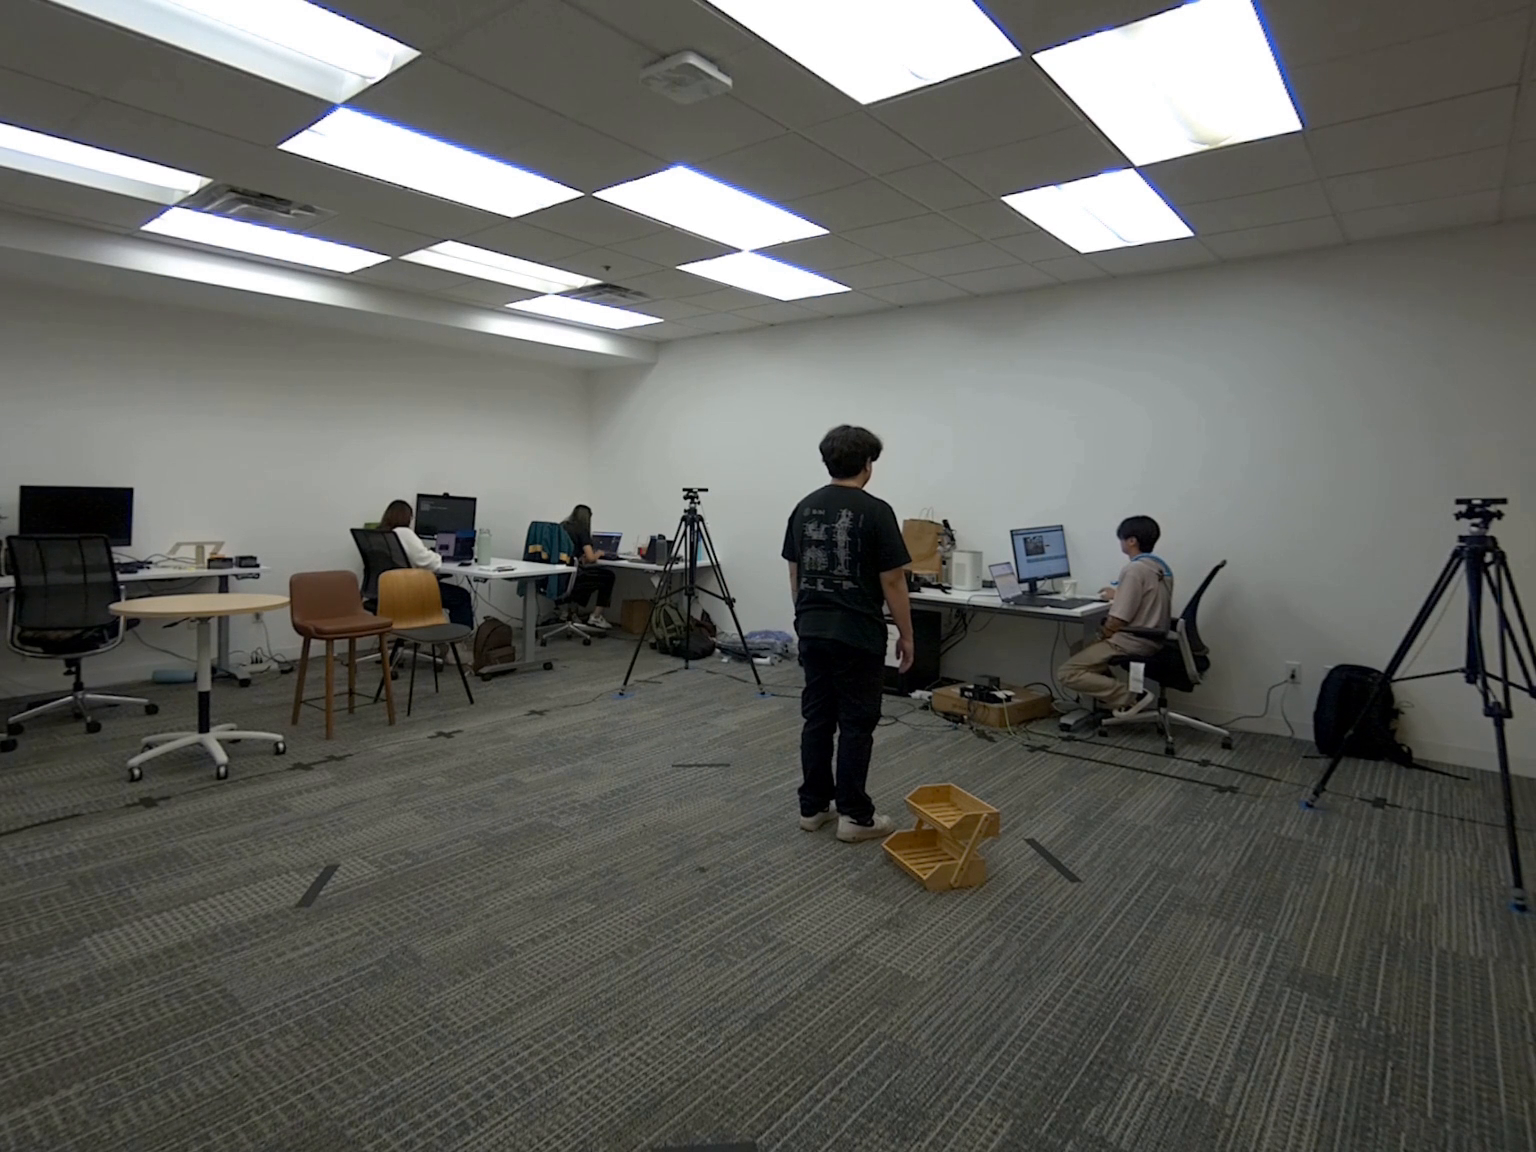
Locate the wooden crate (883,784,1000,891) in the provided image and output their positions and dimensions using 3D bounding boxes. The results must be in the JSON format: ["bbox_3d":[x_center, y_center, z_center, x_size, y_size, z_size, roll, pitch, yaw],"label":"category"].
[{"bbox_3d":[0.624,0.946,3.156,0.296,0.272,0.332,1,5,-22],"label":"wooden crate"}]
